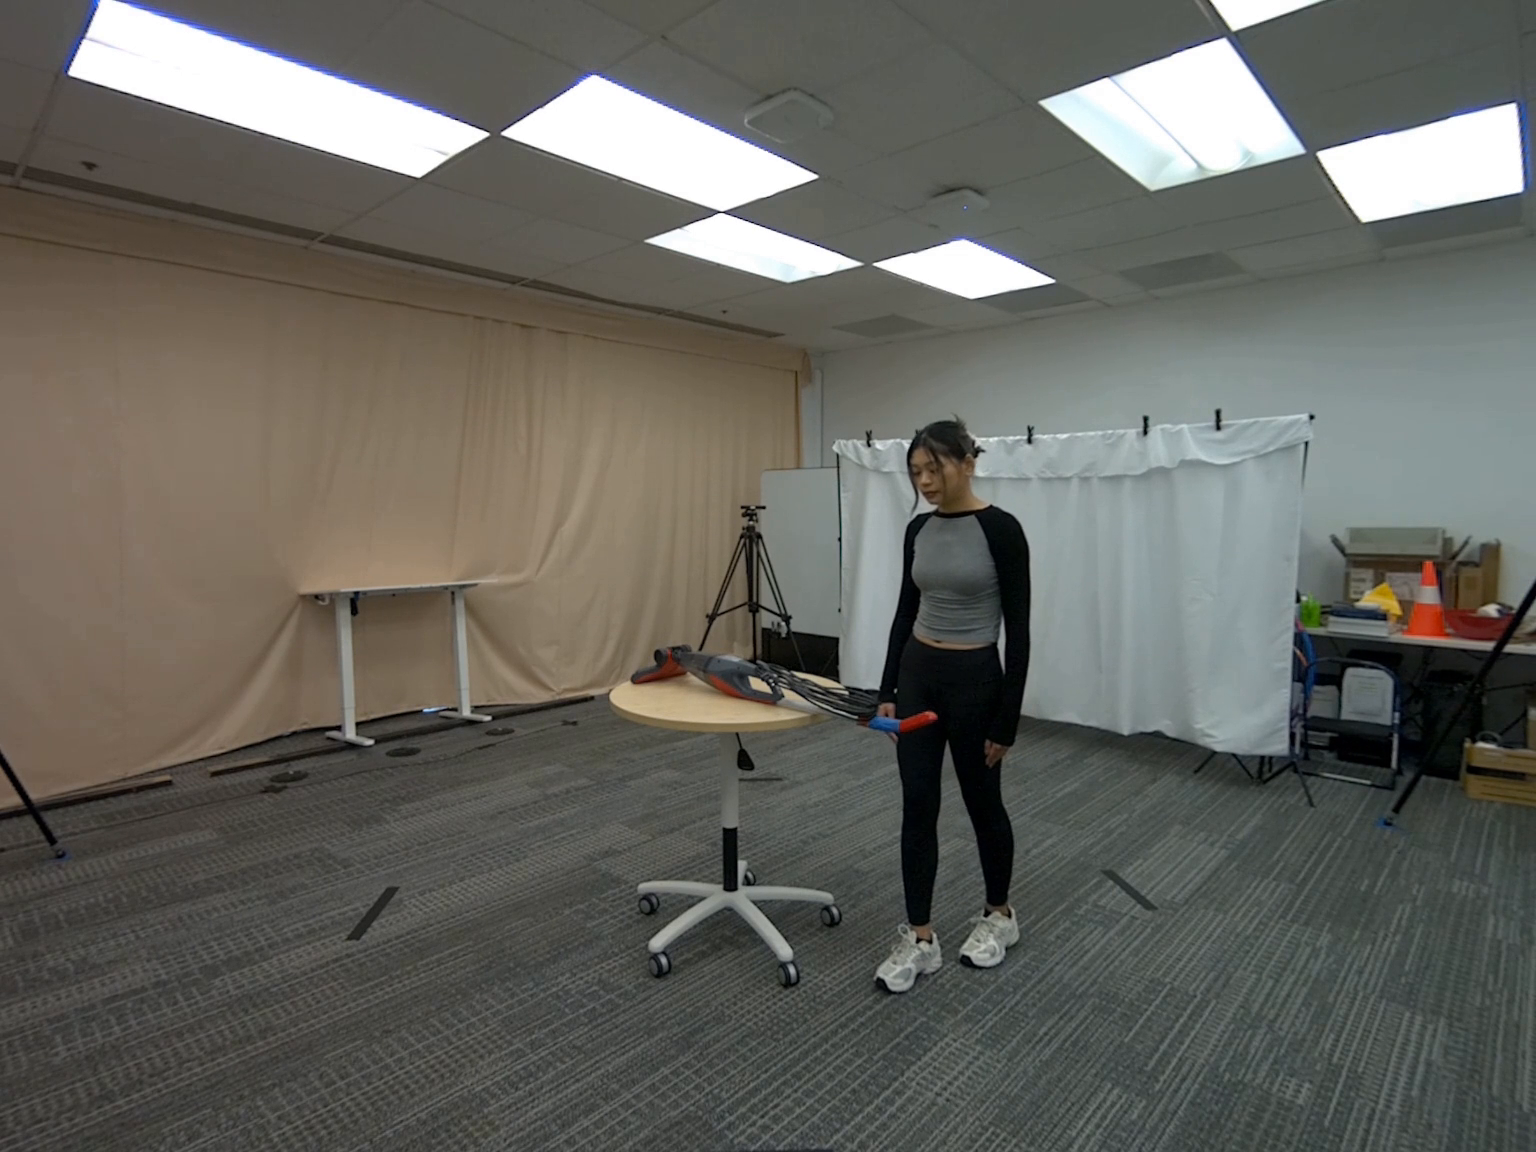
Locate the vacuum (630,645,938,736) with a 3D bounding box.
[{"bbox_3d":[0.014,0.344,2.513,0.245,0.143,1.085,-6,7,-44],"label":"vacuum"}]
